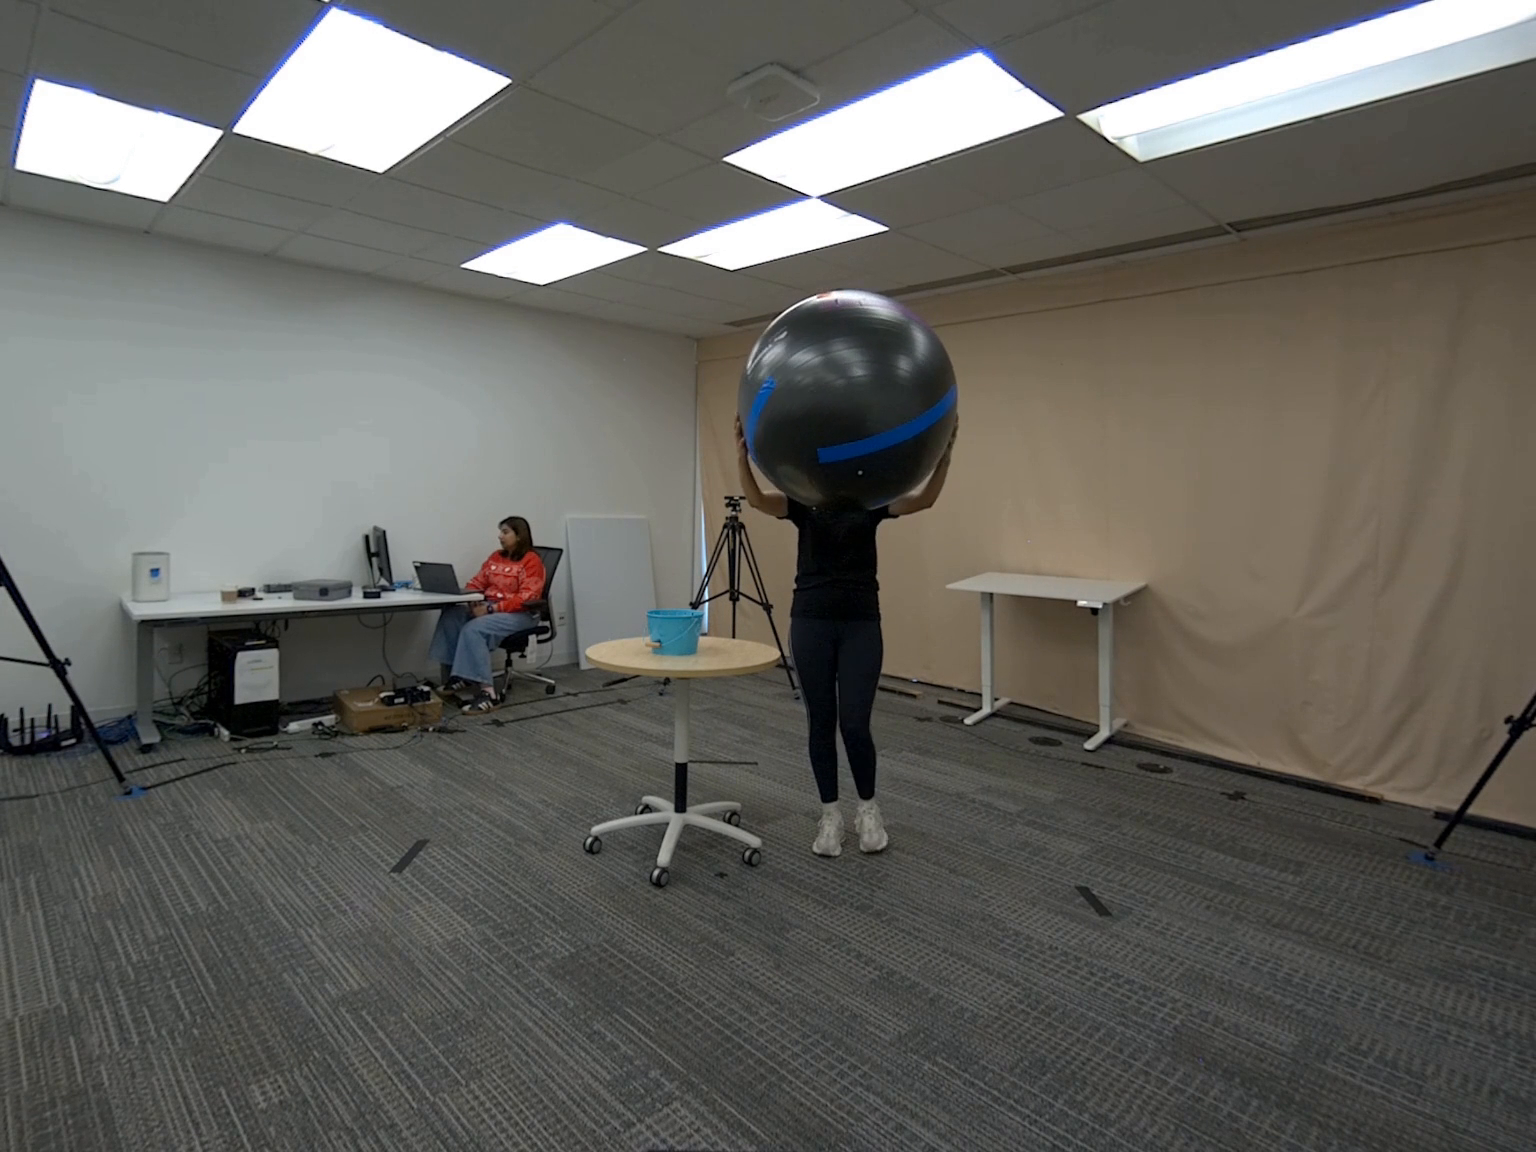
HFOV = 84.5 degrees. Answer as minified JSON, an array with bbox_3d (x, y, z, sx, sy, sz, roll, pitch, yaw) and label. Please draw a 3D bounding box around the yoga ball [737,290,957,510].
[{"bbox_3d":[0.263,-0.596,2.931,0.757,0.756,0.761,1,4,-1],"label":"yoga ball"}]
